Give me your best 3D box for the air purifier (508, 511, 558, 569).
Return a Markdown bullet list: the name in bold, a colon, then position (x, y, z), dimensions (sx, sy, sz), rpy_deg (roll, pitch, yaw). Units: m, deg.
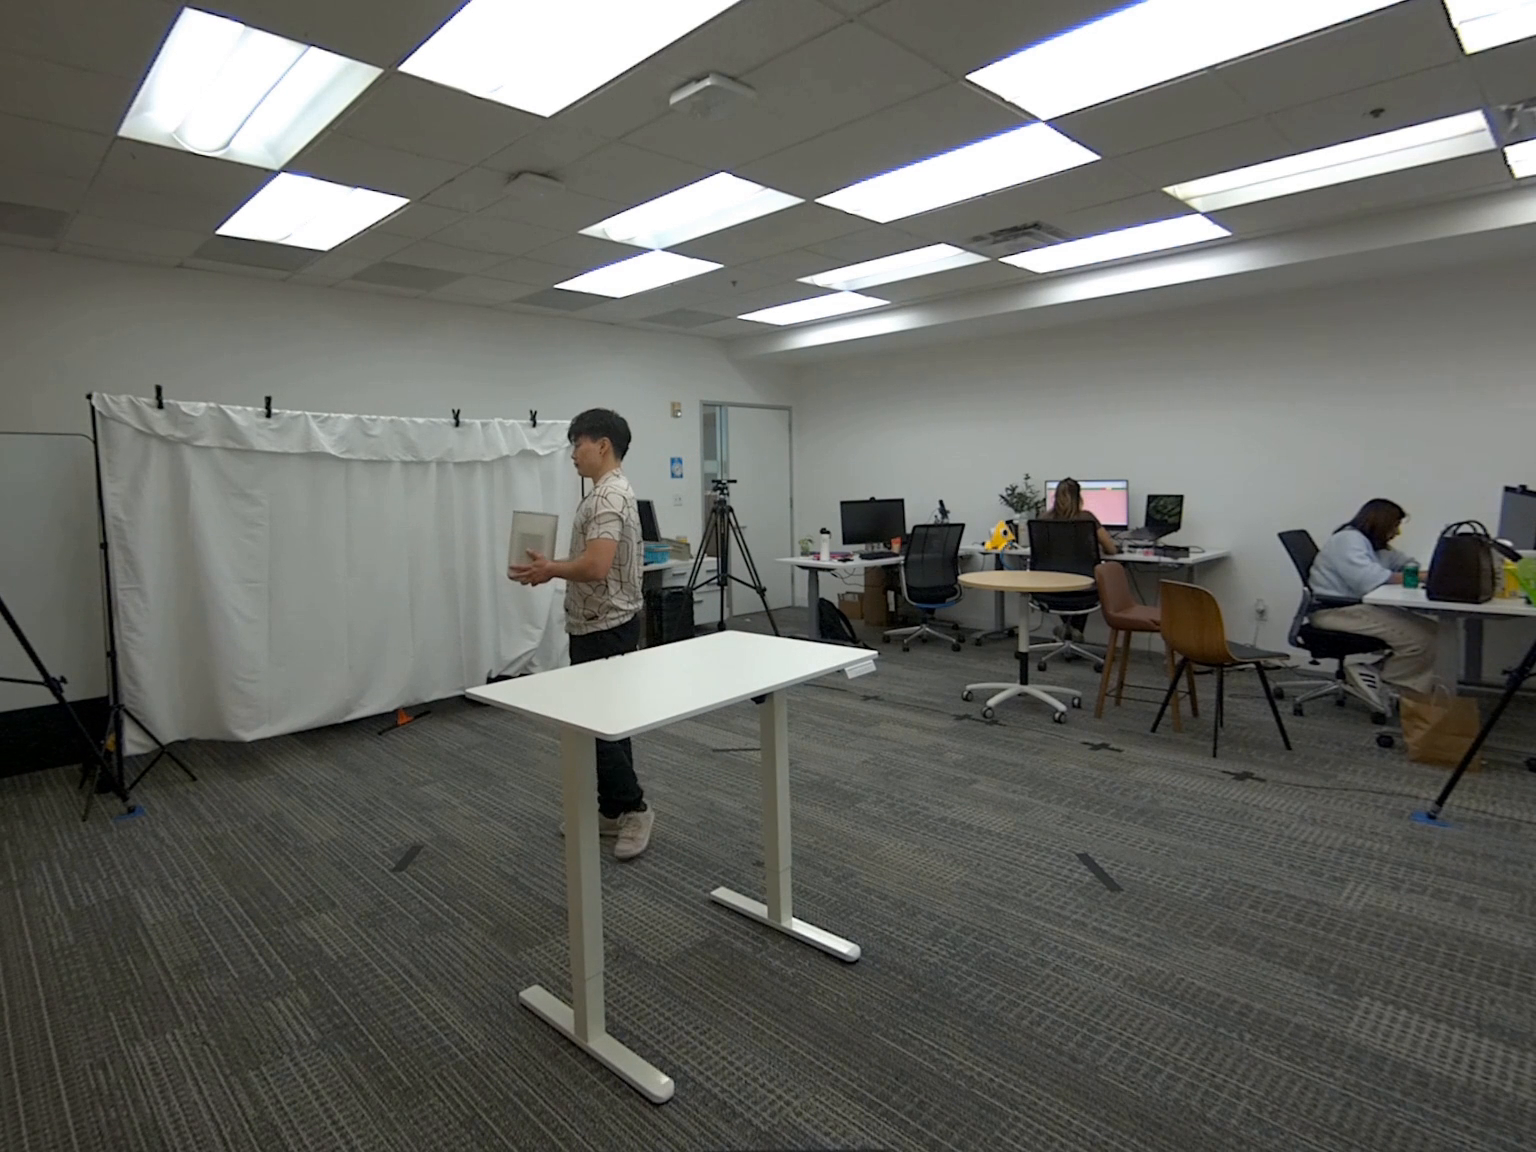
- **air purifier**: position (-0.899, -0.115, 3.278), dimensions (0.170, 0.265, 0.173), rpy_deg (6, 2, -11)
